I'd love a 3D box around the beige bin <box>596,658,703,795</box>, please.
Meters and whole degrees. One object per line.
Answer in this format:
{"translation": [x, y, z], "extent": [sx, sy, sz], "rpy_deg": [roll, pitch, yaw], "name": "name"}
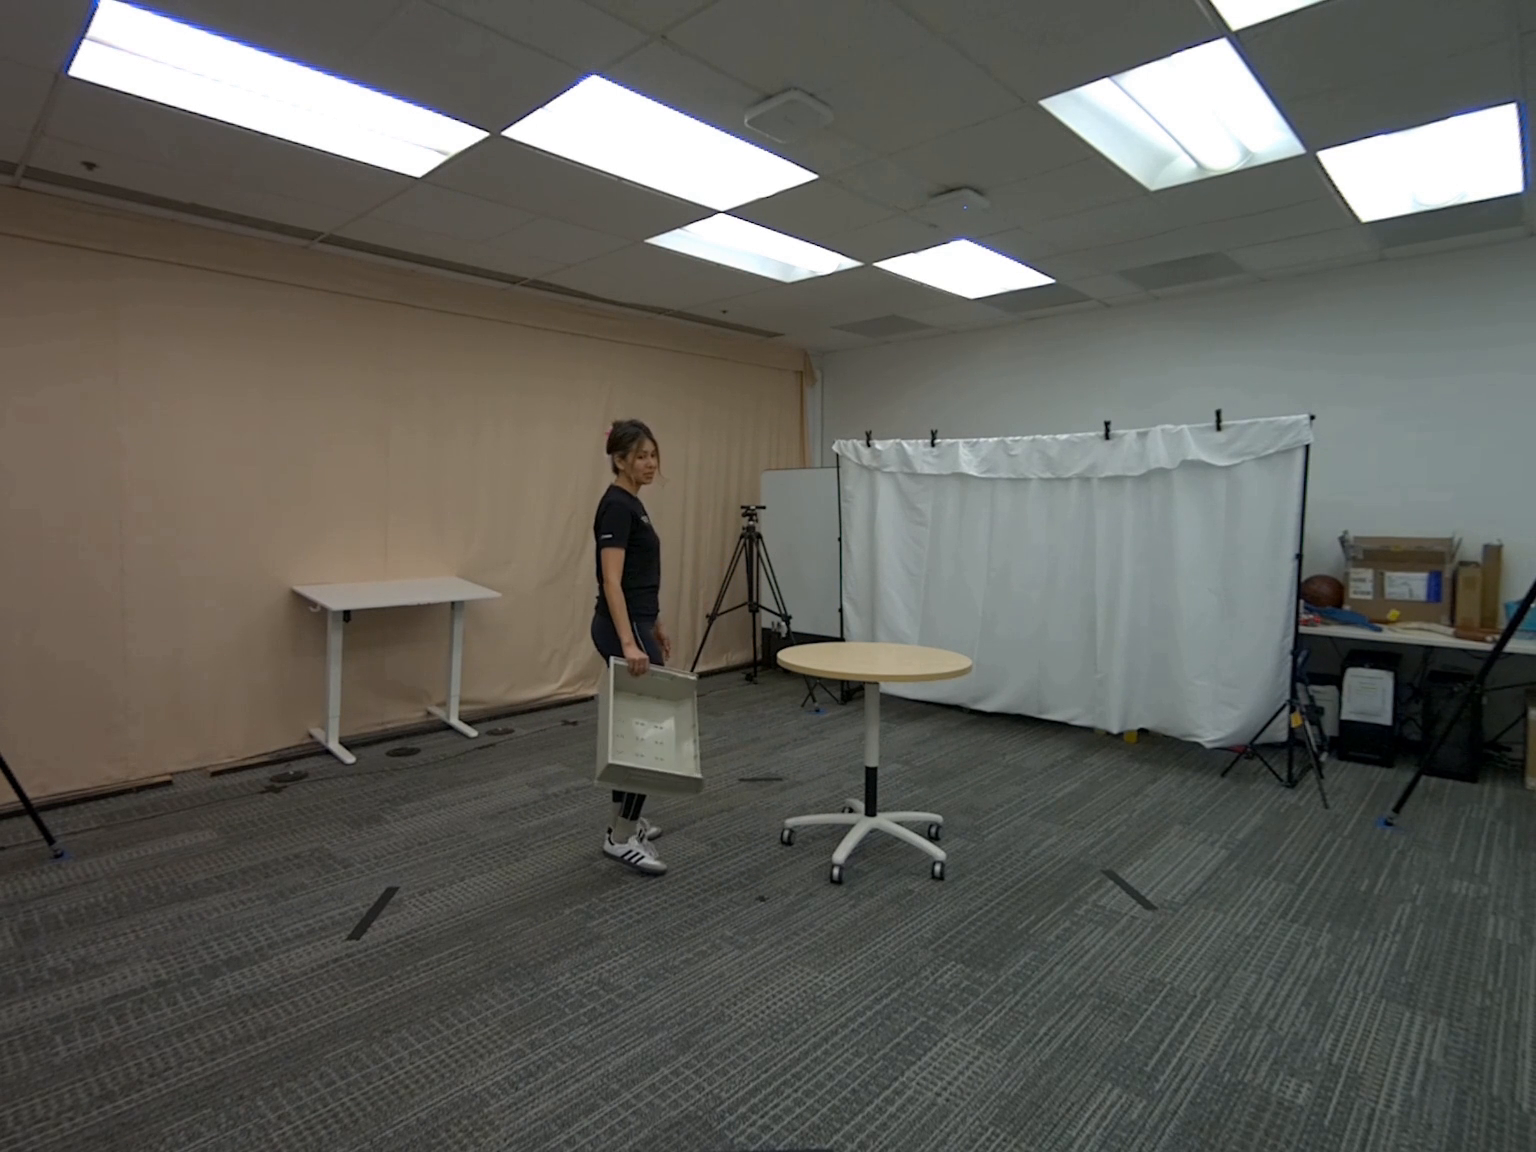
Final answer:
{"translation": [-0.407, 0.547, 3.001], "extent": [0.368, 0.432, 0.189], "rpy_deg": [13, -45, -22], "name": "beige bin"}
